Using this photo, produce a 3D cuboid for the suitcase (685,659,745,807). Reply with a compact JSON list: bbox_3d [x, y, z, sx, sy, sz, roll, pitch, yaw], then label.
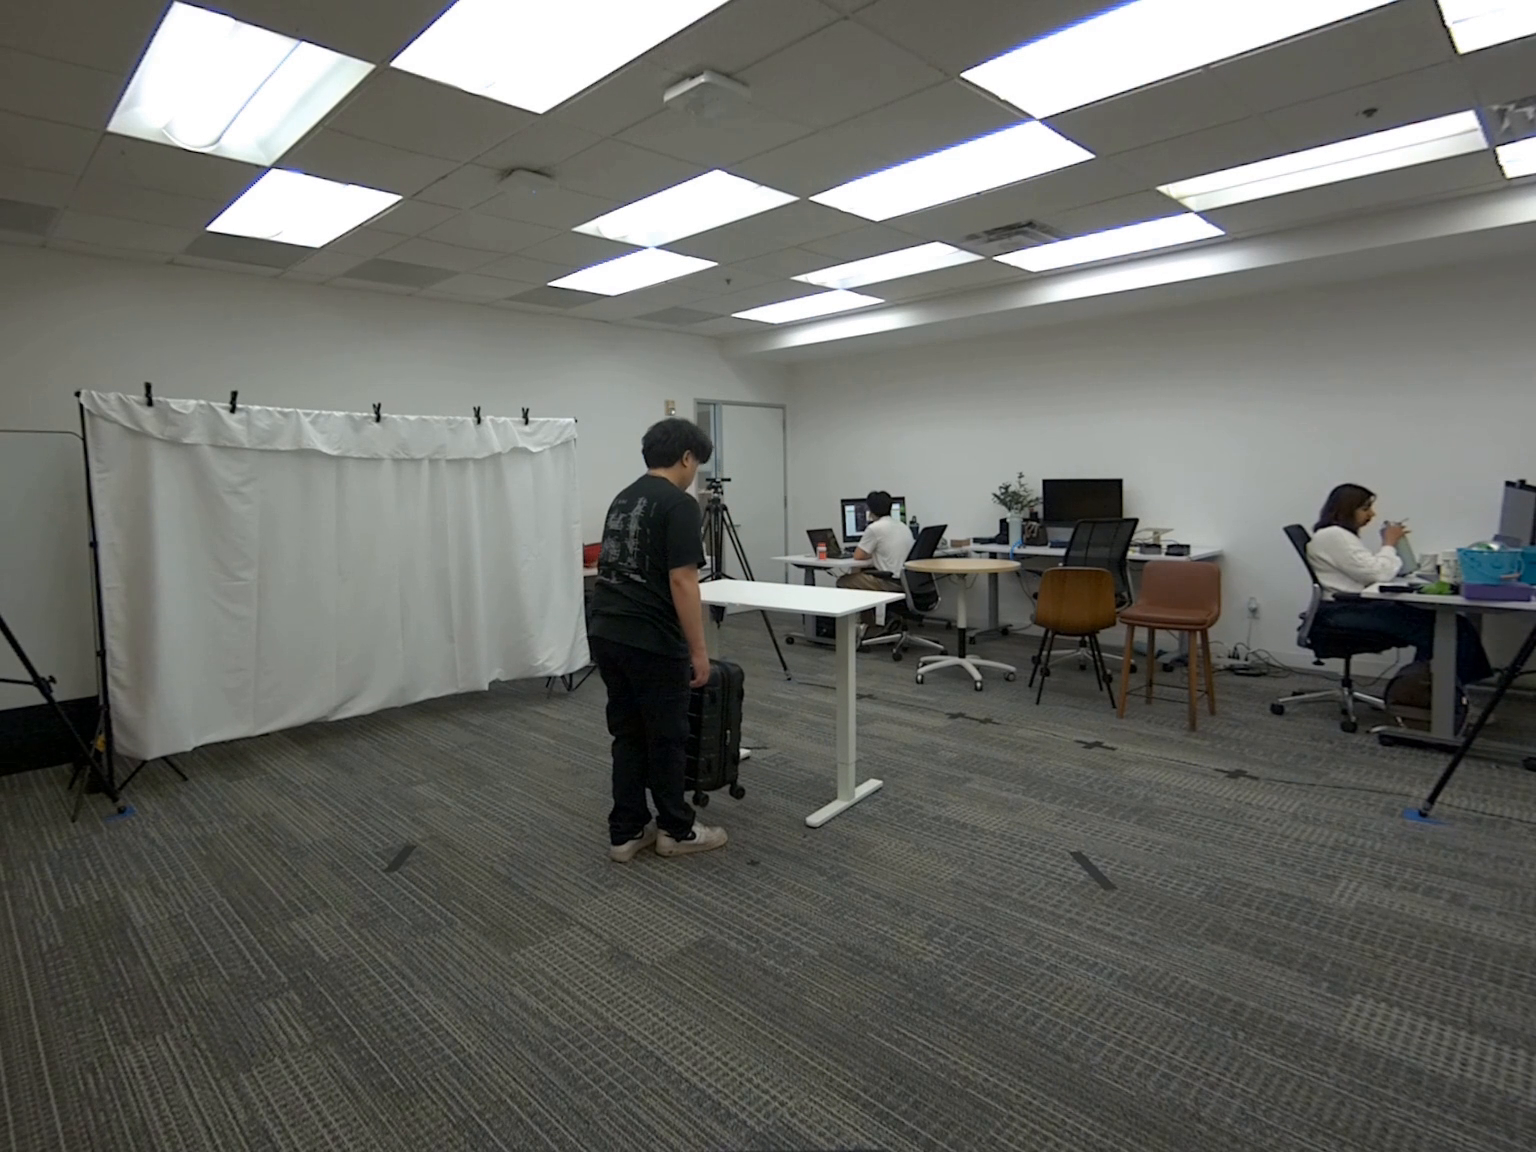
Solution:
[{"bbox_3d":[-0.295,0.594,3.426,0.387,0.549,0.241,3,0,42],"label":"suitcase"}]
